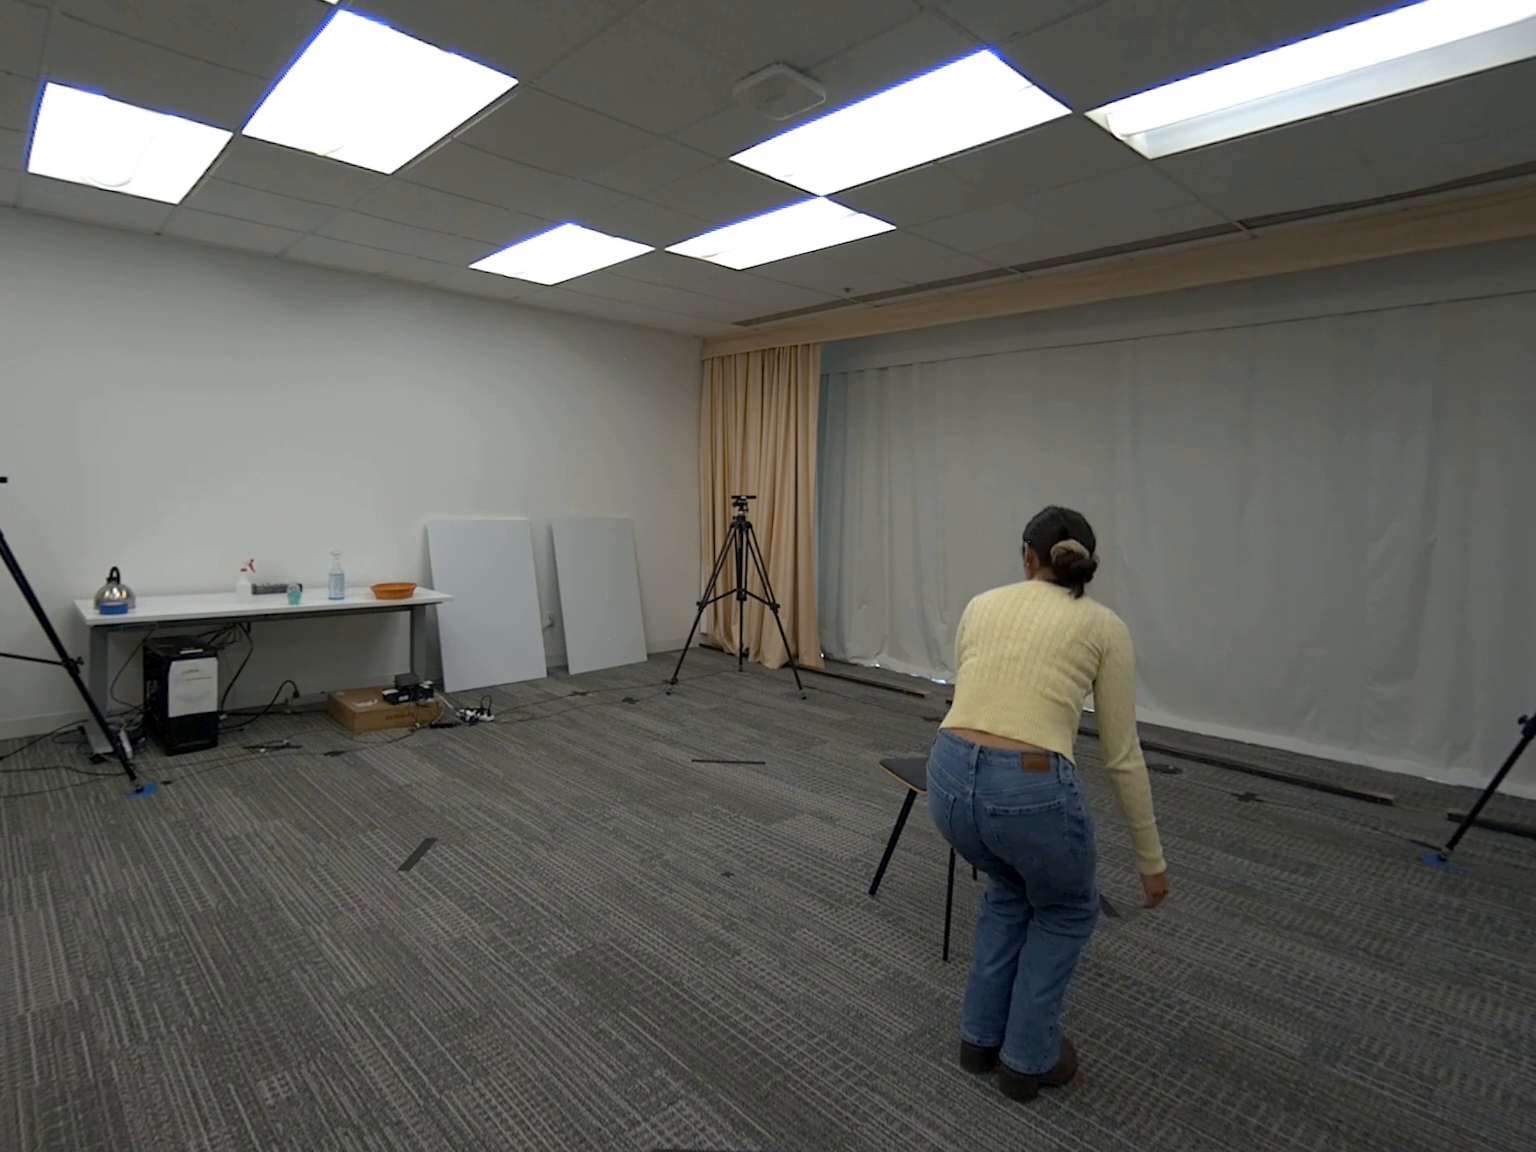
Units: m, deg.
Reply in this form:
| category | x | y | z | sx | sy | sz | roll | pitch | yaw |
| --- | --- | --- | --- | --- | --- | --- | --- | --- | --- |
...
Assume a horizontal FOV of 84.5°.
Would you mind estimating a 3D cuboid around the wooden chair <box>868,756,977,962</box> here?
| category | x | y | z | sx | sy | sz | roll | pitch | yaw |
| --- | --- | --- | --- | --- | --- | --- | --- | --- | --- |
| wooden chair | 0.655 | 0.724 | 2.815 | 0.470 | 0.872 | 0.534 | 0 | 9 | -22 |
